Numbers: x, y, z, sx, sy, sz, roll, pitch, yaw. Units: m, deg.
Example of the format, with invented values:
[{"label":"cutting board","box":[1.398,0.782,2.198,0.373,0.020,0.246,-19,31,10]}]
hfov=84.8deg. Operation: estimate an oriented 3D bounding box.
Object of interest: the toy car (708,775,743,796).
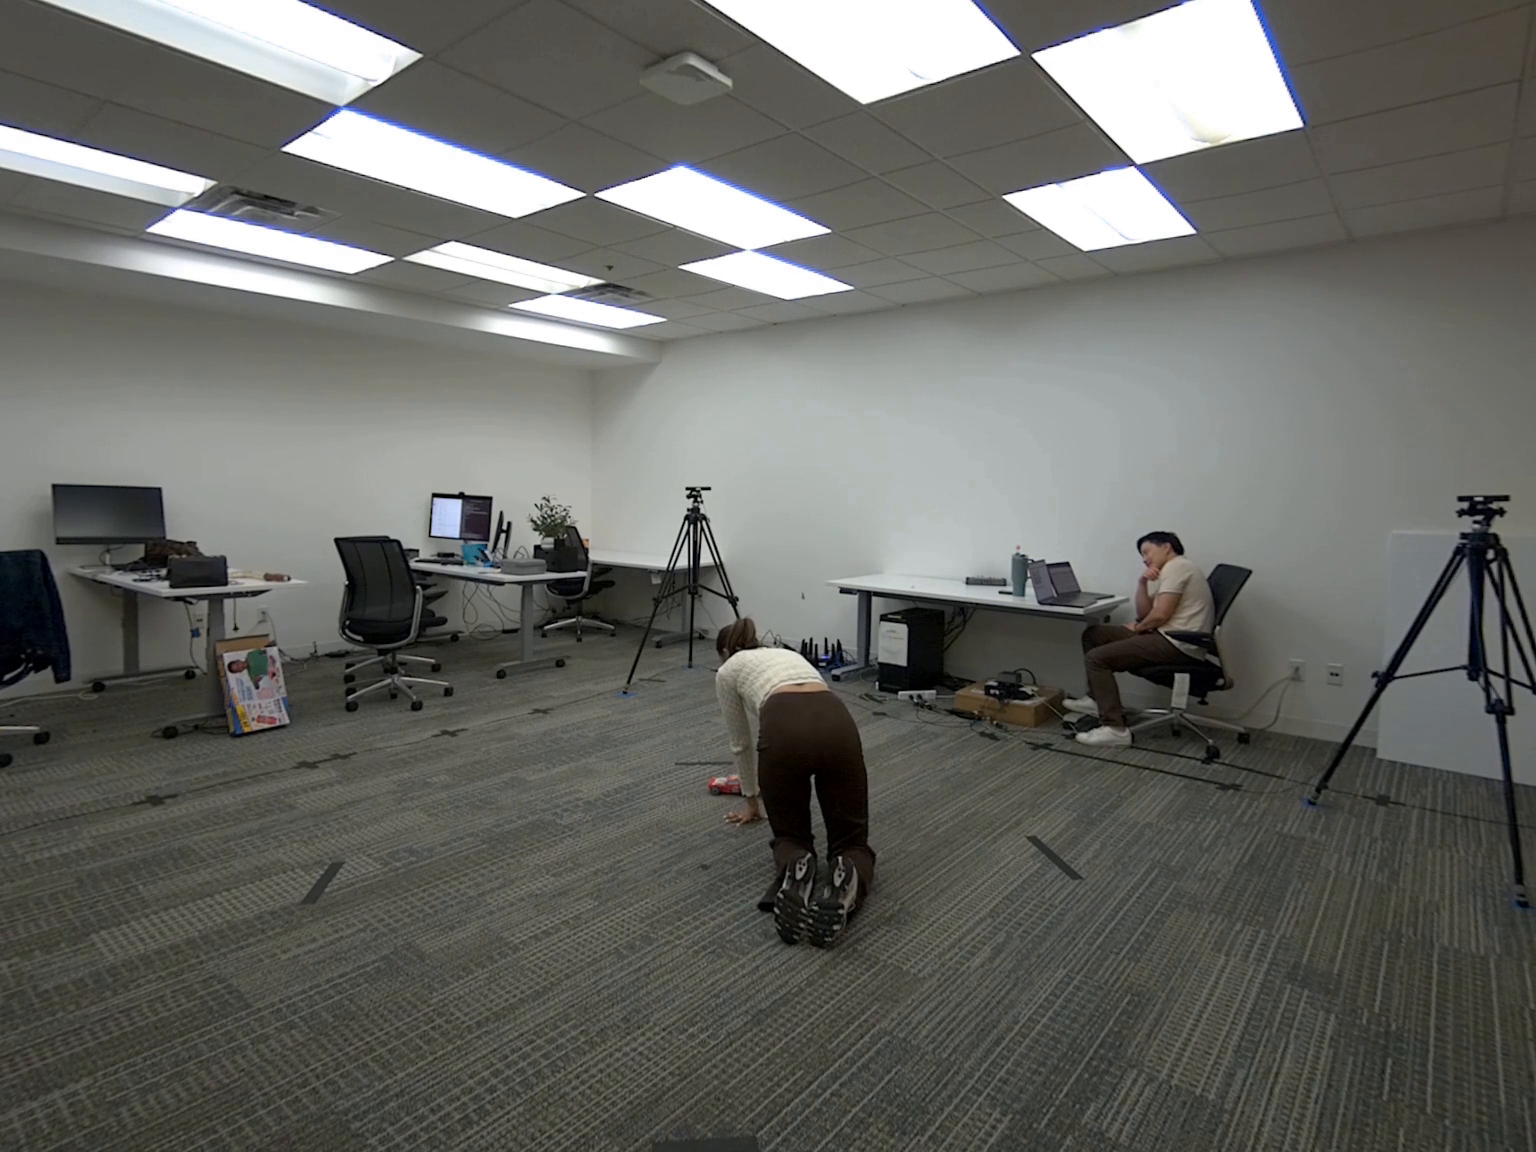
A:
[{"label":"toy car","box":[-0.153,0.959,3.906,0.256,0.083,0.130,-8,5,4]}]
